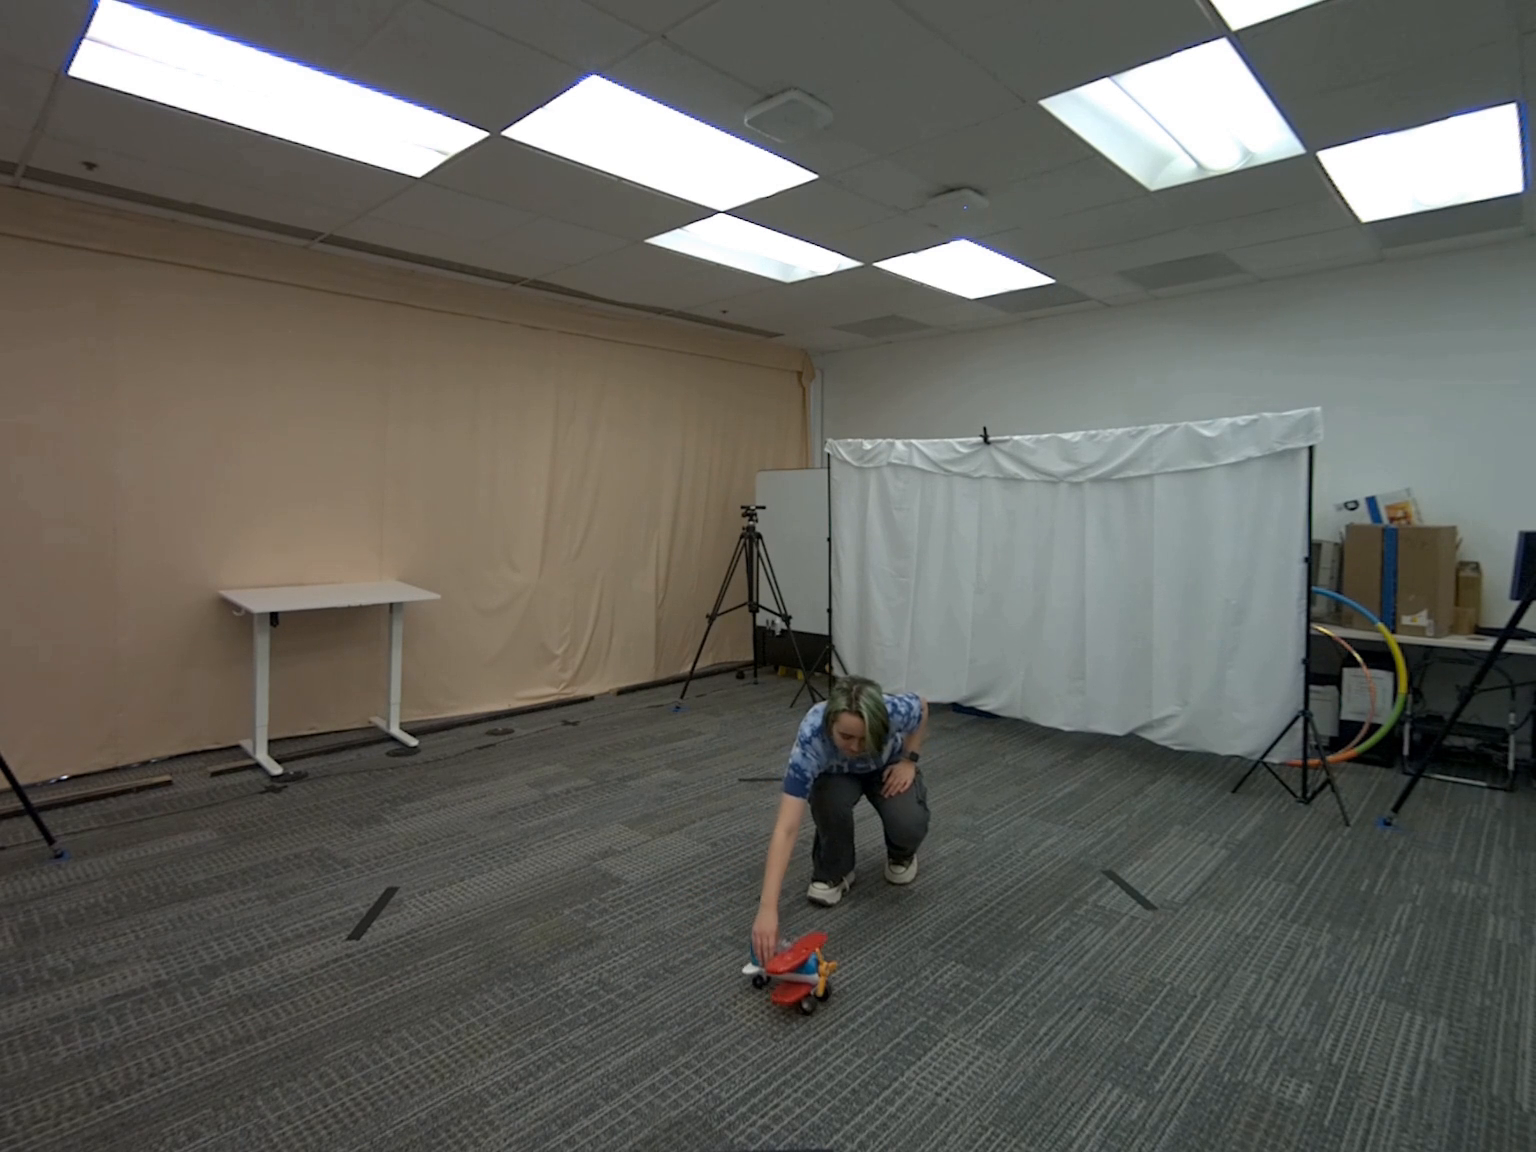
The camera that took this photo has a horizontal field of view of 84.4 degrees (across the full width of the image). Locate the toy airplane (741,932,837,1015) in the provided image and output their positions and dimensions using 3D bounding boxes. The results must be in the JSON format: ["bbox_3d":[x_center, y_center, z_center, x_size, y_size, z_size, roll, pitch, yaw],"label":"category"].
[{"bbox_3d":[0.054,1.122,2.369,0.261,0.156,0.250,2,4,6],"label":"toy airplane"}]
